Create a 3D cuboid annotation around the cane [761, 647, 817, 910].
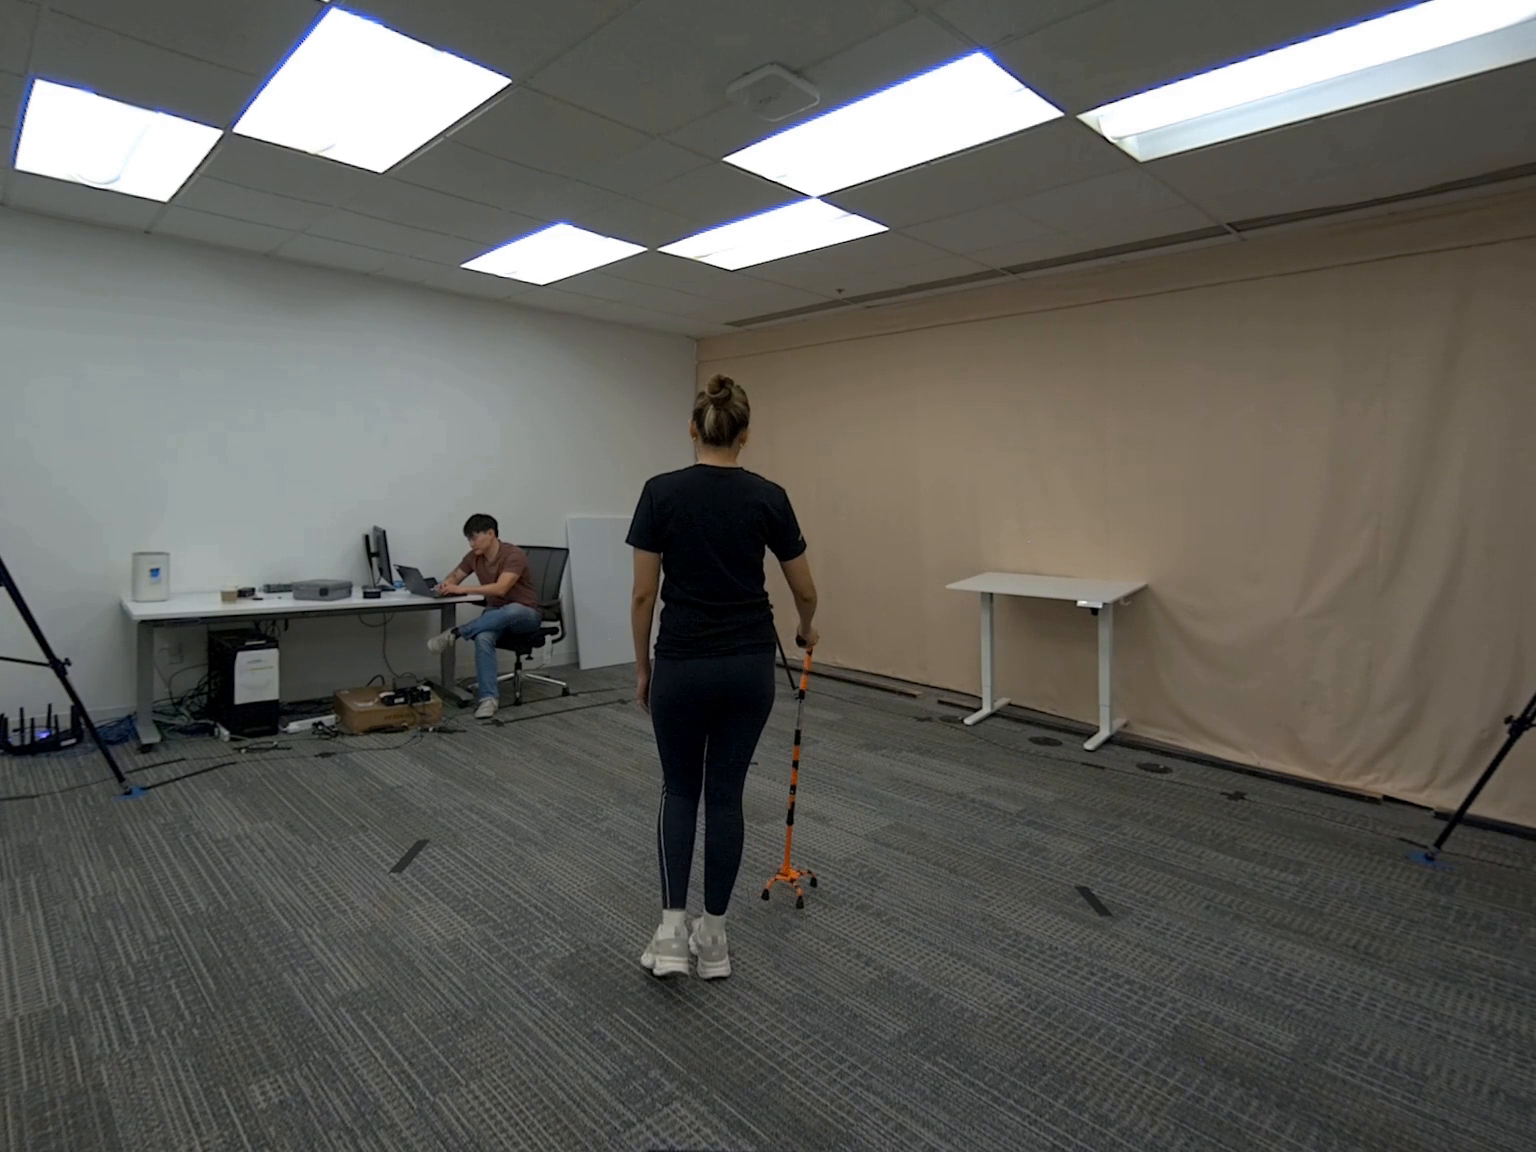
[{"bbox_3d":[0.103,0.652,2.889,0.154,0.906,0.203,5,3,18],"label":"cane"}]
